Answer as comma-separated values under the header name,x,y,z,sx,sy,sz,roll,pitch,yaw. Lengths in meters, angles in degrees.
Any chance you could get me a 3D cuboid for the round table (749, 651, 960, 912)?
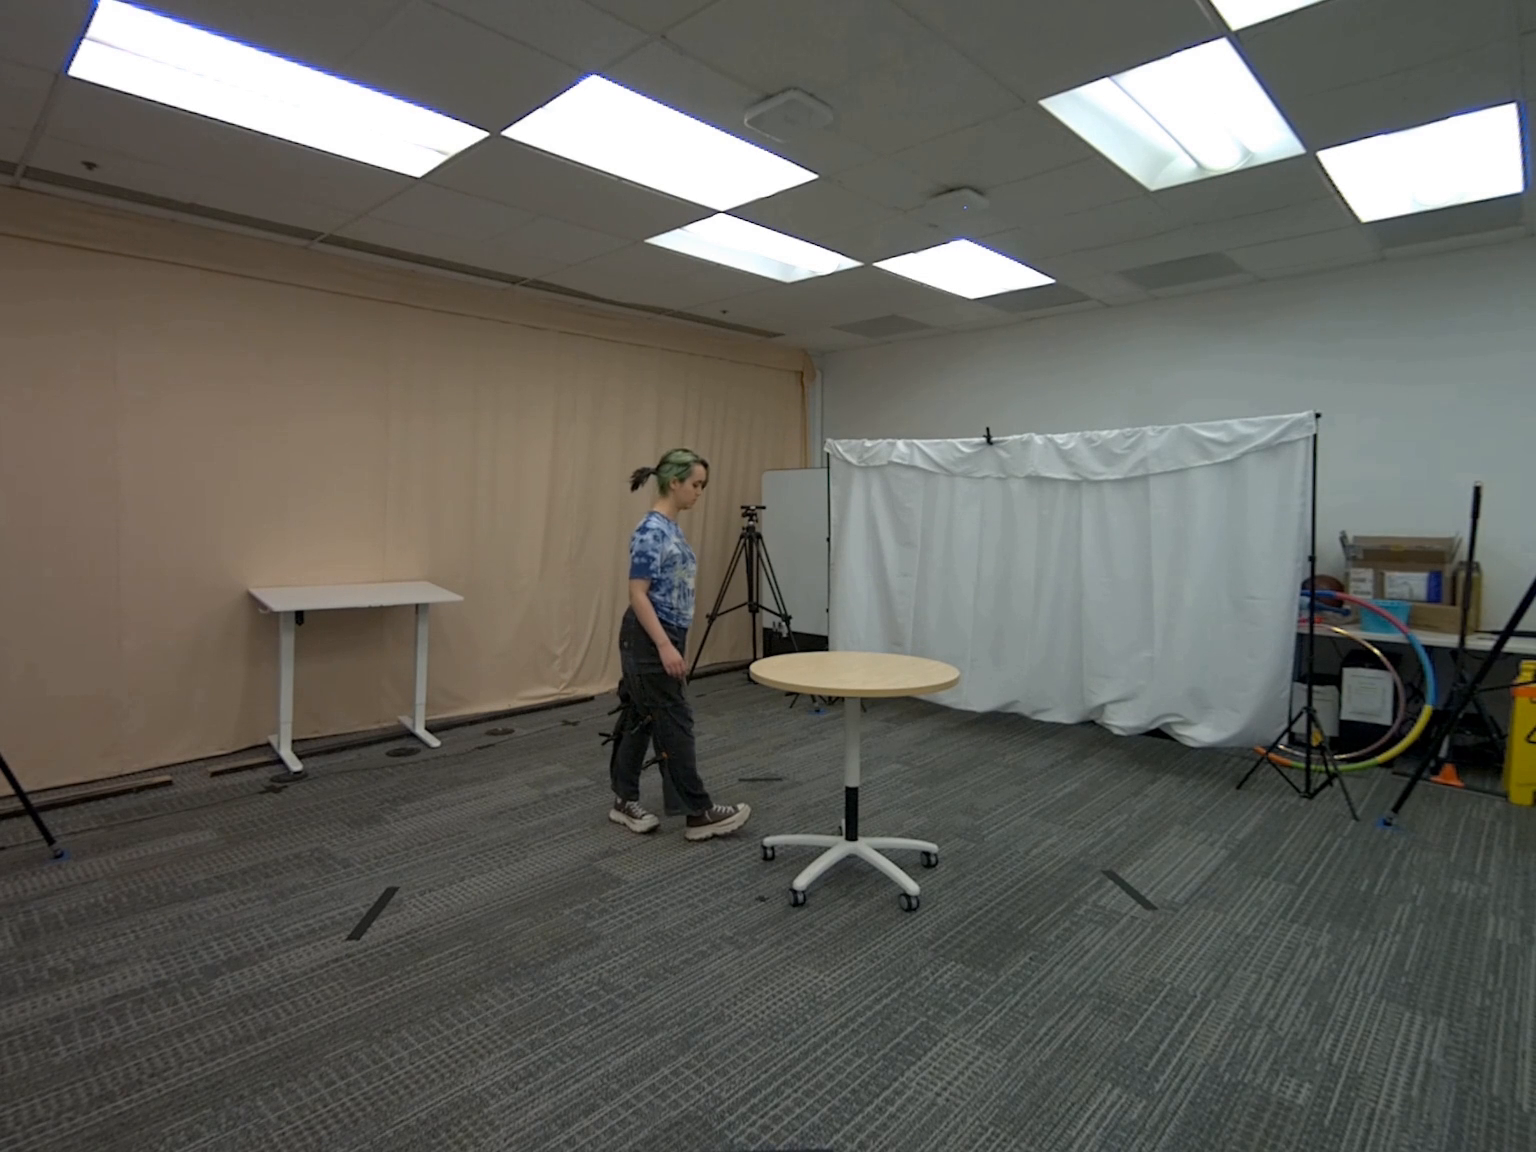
name,x,y,z,sx,sy,sz,roll,pitch,yaw
round table,0.311,0.738,3.144,0.763,0.792,0.766,0,3,-2
